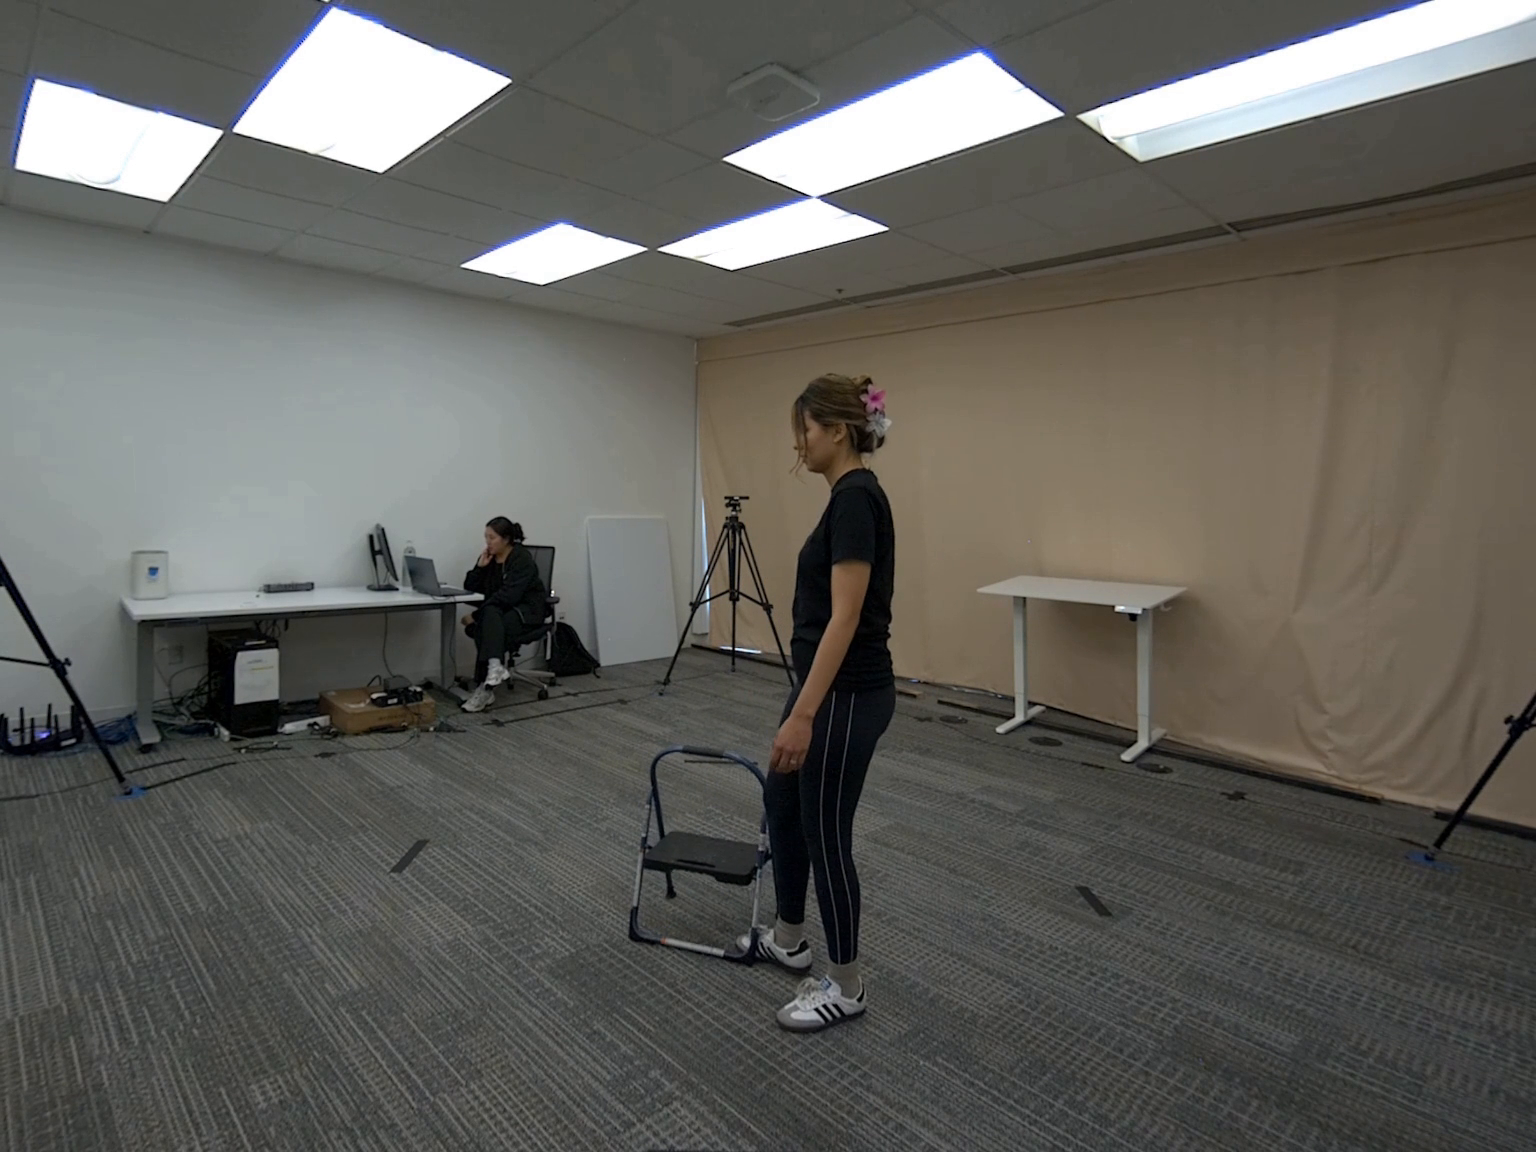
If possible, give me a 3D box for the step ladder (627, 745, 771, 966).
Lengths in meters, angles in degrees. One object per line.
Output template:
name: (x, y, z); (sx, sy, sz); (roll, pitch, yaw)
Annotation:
step ladder: (-0.194, 0.836, 2.702); (0.437, 0.605, 0.345); (2, 3, 18)
